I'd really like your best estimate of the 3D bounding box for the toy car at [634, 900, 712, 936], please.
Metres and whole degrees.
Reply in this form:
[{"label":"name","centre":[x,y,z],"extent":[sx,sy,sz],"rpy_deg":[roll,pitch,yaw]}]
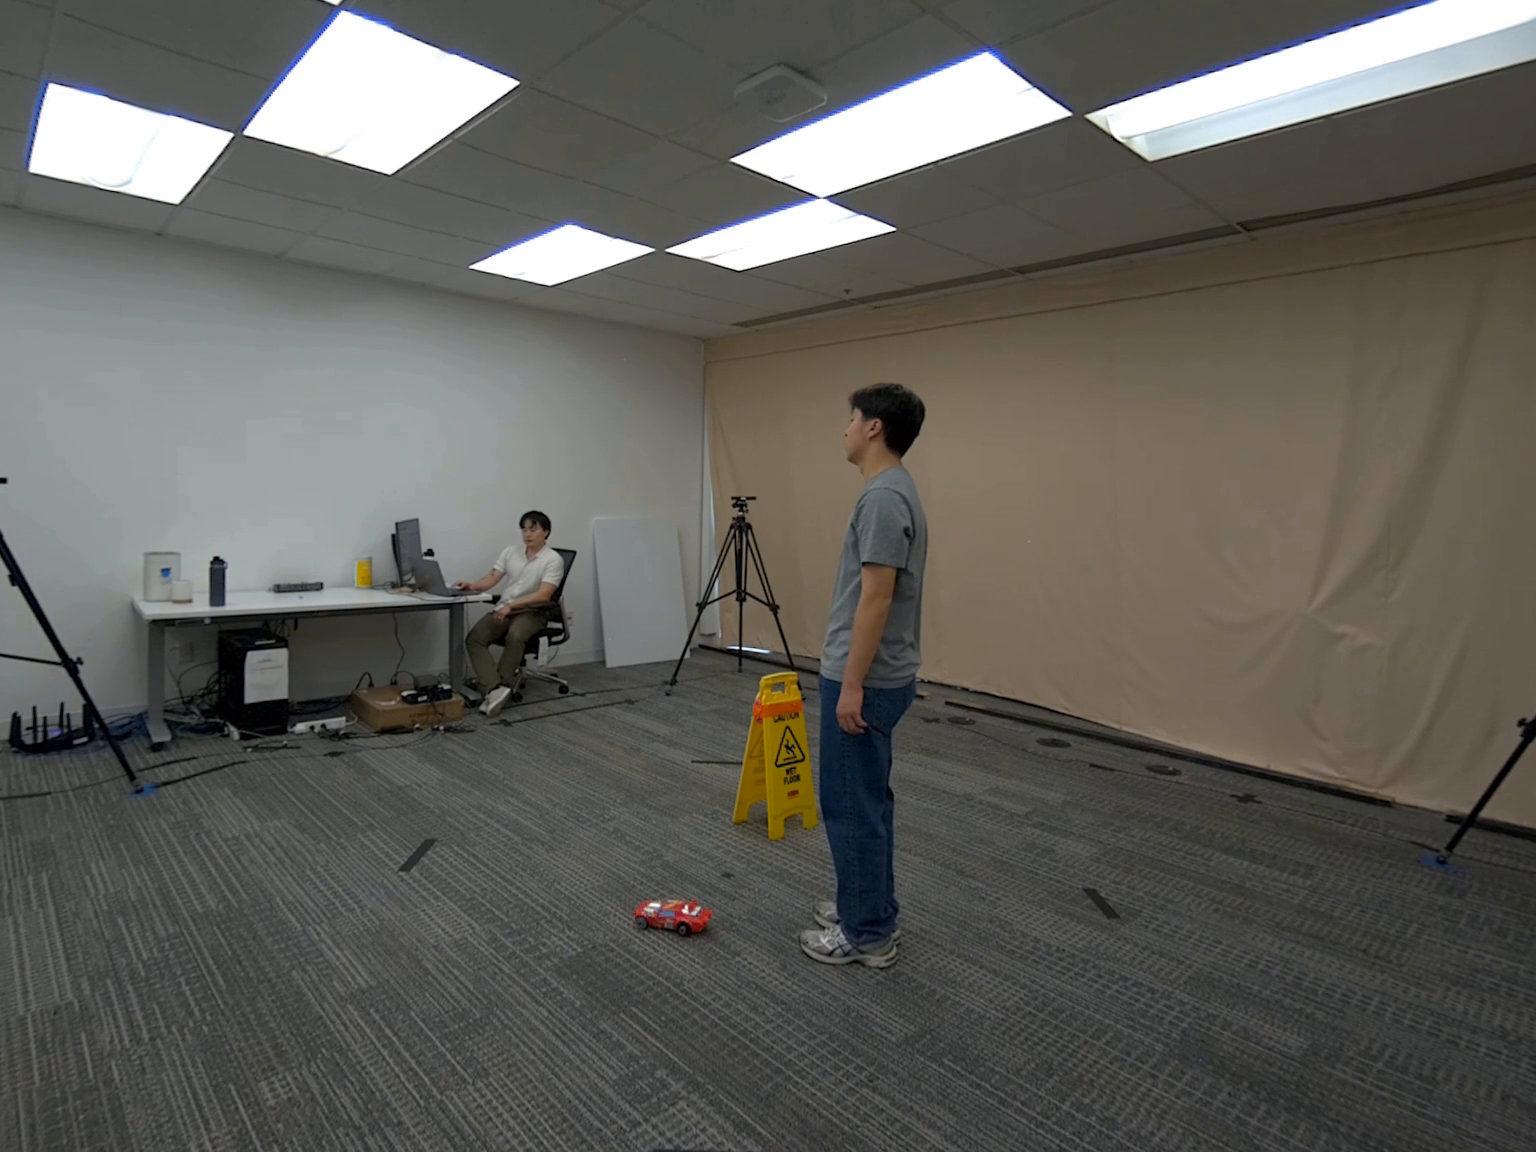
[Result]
[{"label":"toy car","centre":[-0.302,1.098,2.728],"extent":[0.257,0.083,0.129],"rpy_deg":[-10,2,16]}]
